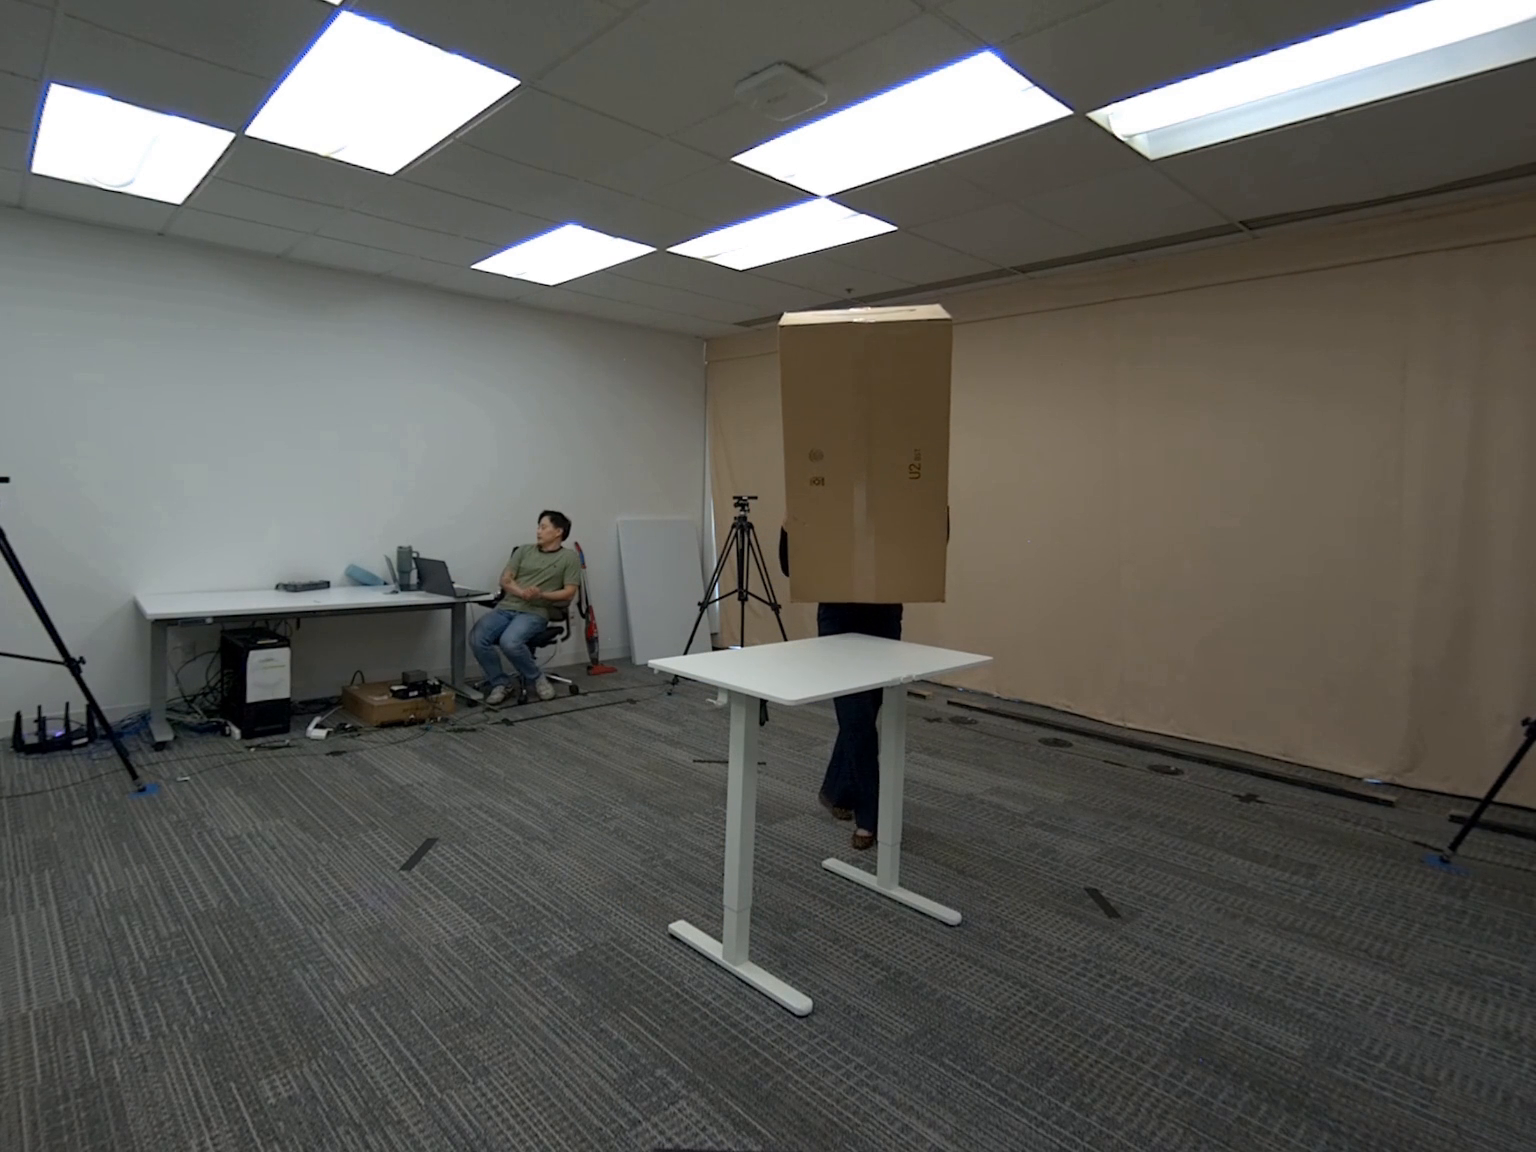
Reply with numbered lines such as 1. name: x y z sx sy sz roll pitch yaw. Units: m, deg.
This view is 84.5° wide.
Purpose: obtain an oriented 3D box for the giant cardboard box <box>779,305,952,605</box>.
1. giant cardboard box: 0.354 -0.451 3.145 0.581 1.010 0.430 0 21 8
